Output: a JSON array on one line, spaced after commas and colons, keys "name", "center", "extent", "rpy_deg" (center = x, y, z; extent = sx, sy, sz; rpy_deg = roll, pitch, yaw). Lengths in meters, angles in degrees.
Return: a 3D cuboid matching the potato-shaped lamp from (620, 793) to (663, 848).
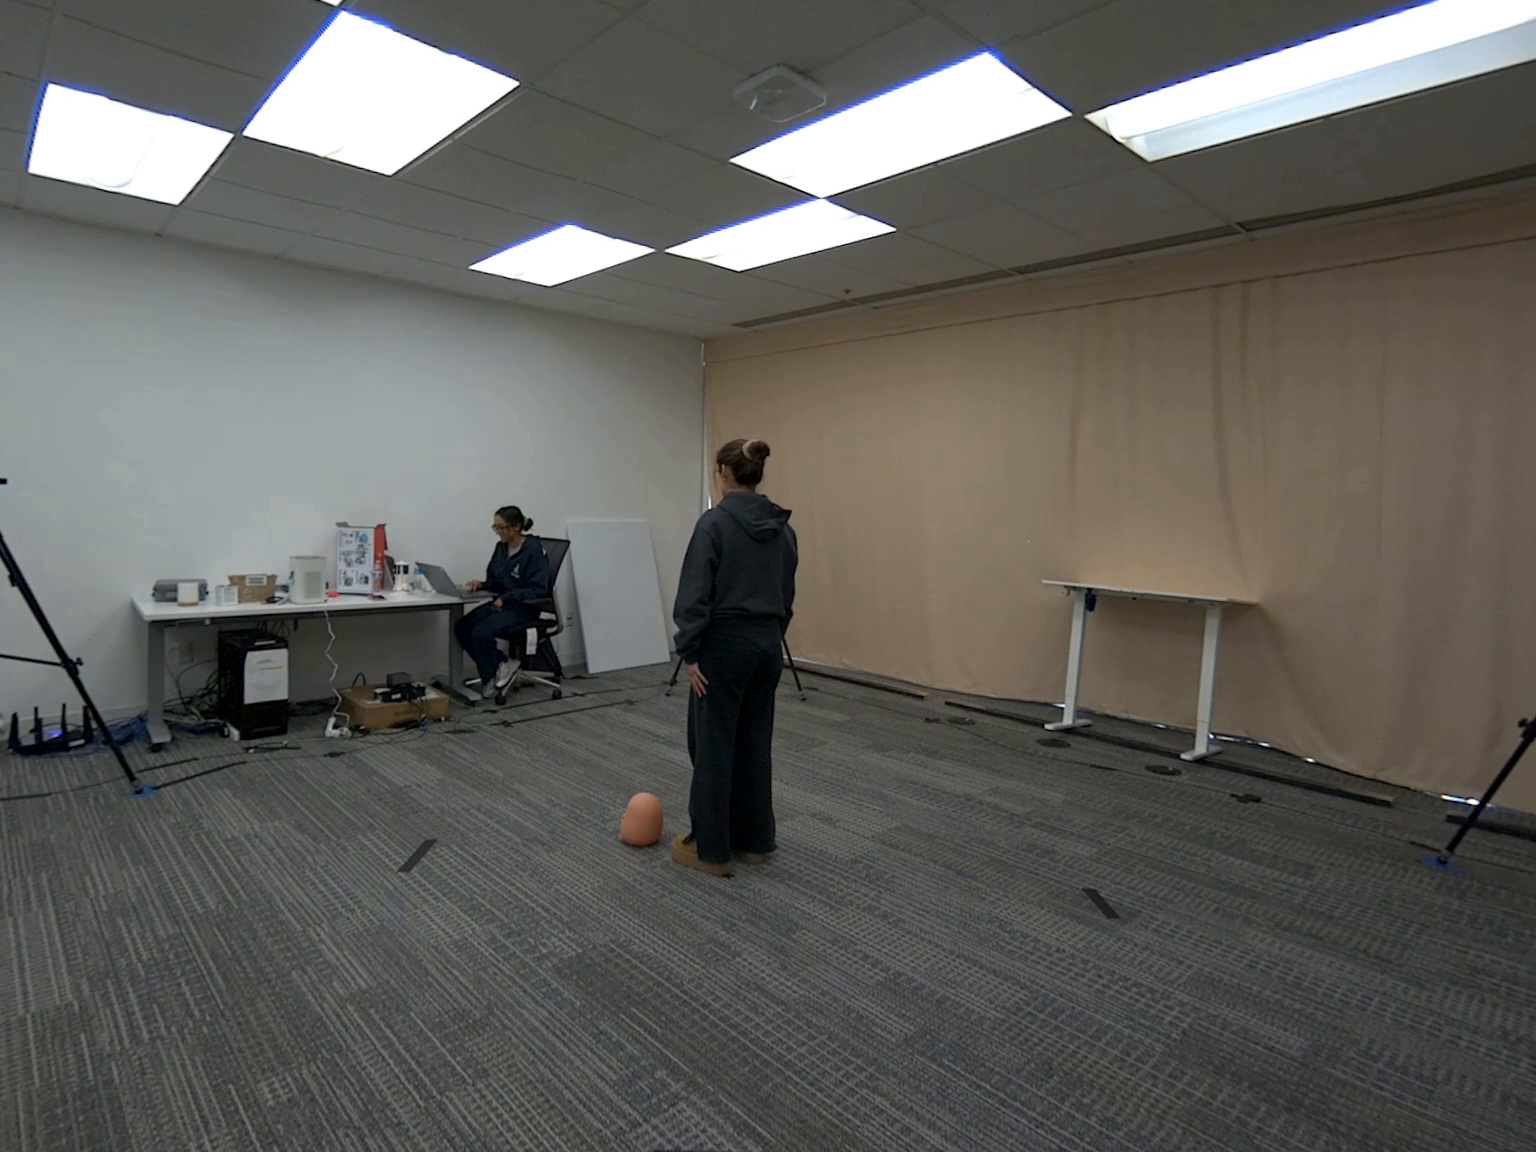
[{"name": "potato-shaped lamp", "center": [-0.510, 0.965, 3.401], "extent": [0.176, 0.197, 0.161], "rpy_deg": [5, 6, 39]}]
